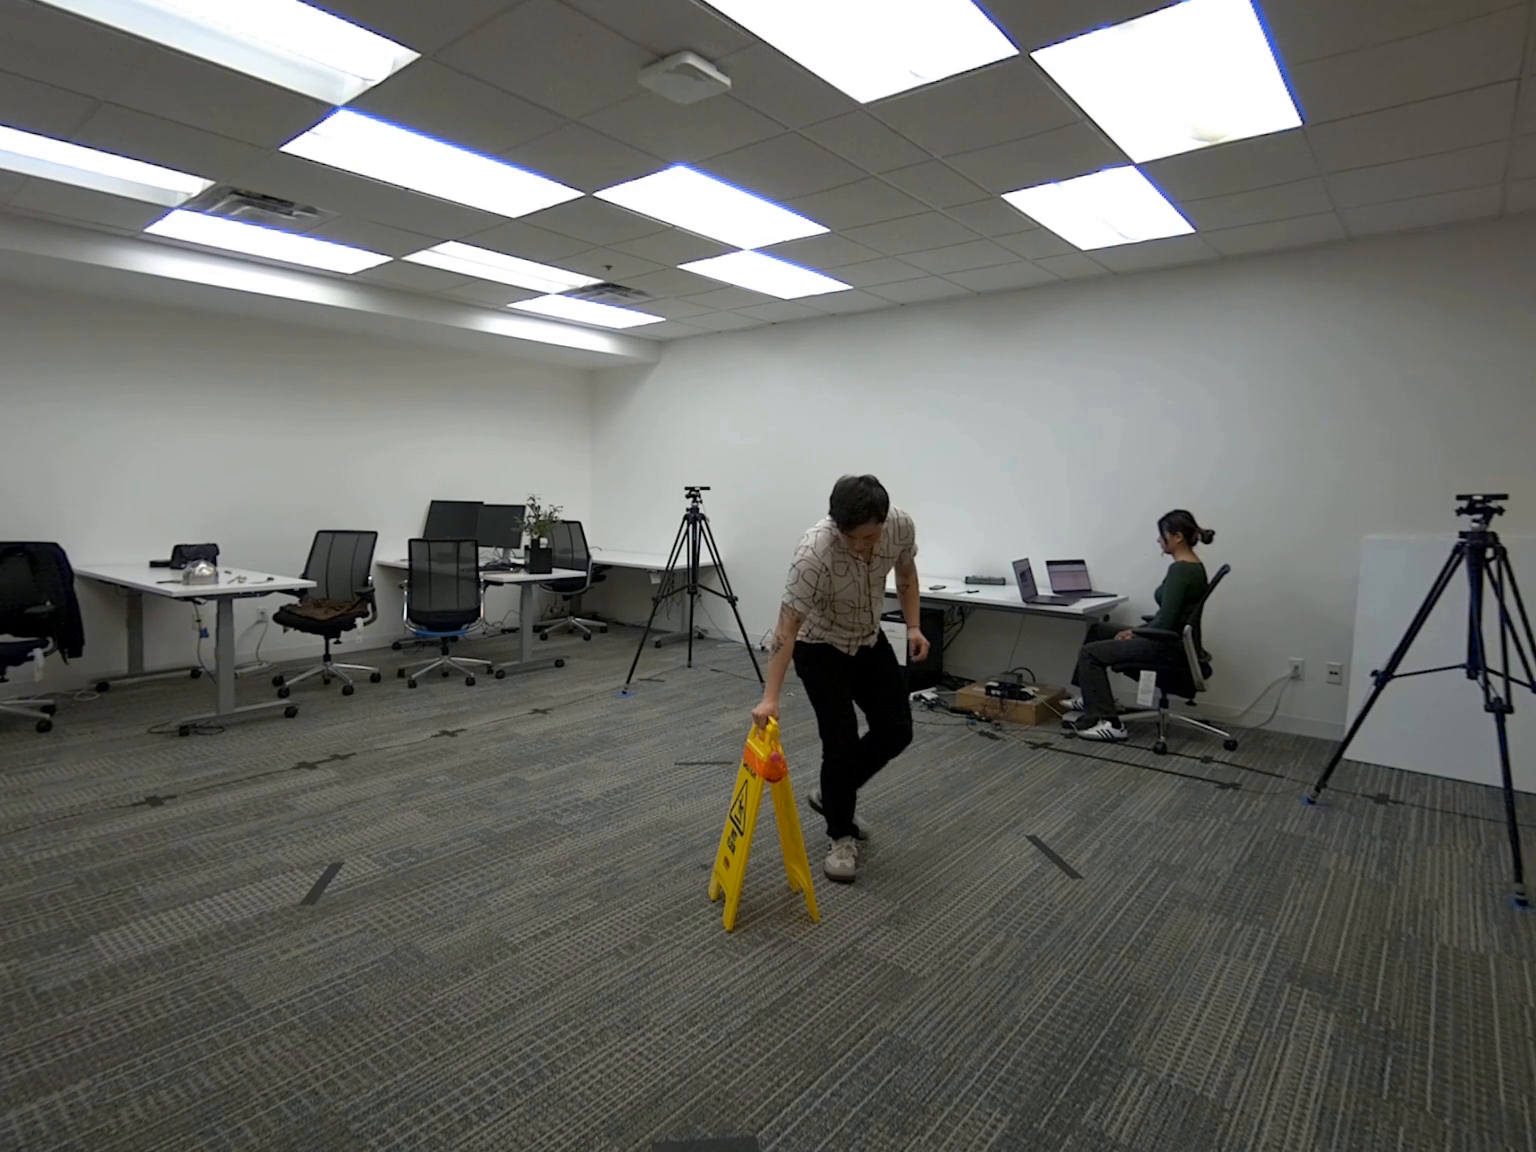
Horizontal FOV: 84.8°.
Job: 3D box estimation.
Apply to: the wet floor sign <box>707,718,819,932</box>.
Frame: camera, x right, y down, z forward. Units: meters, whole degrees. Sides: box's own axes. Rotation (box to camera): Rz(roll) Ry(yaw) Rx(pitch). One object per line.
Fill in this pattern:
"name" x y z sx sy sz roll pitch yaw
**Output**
"wet floor sign" -0.021 0.771 2.808 0.285 0.644 0.288 1 4 -16
